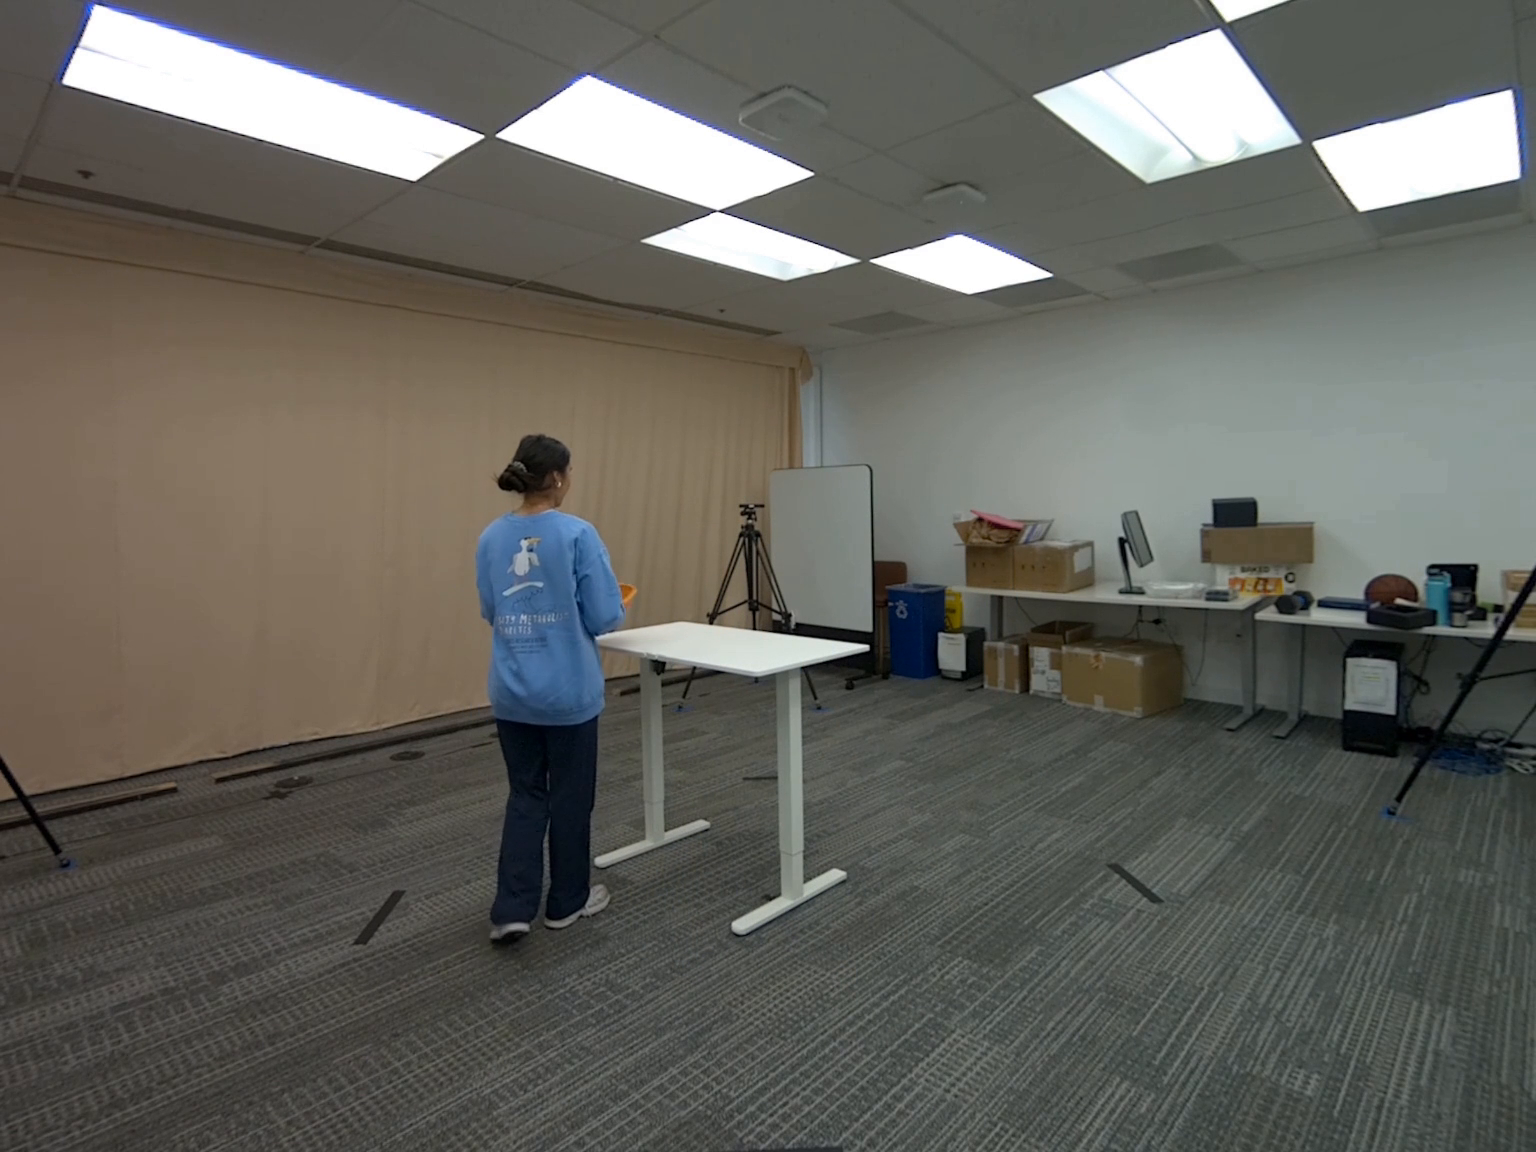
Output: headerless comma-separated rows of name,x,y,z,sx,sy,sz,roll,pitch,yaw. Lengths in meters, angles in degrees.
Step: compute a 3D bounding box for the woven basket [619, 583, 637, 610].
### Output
woven basket,-0.647,0.125,3.128,0.255,0.072,0.350,-5,17,10
